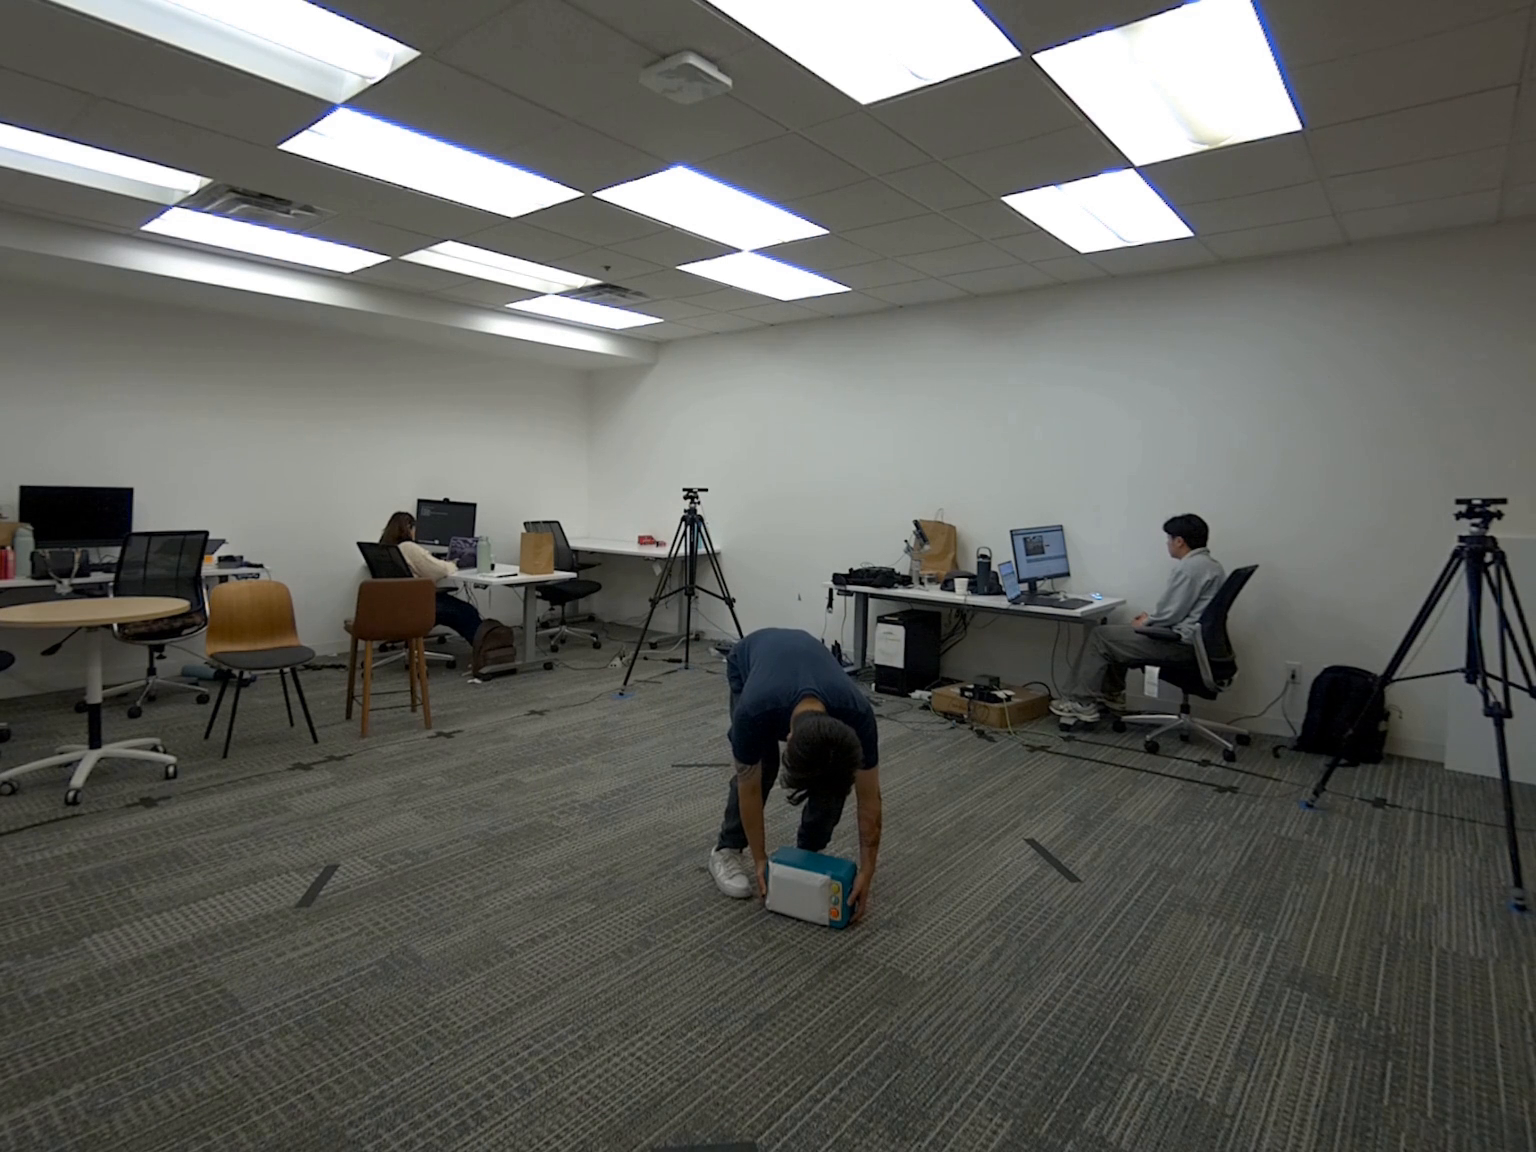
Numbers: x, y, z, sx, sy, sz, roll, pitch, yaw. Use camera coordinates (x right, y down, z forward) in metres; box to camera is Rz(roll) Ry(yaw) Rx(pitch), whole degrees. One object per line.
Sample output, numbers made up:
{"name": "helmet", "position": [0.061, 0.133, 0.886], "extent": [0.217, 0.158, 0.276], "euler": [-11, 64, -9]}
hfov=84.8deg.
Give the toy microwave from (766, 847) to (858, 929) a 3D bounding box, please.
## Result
{"name": "toy microwave", "position": [0.127, 1.017, 2.790], "extent": [0.294, 0.183, 0.149], "euler": [4, 5, 25]}
